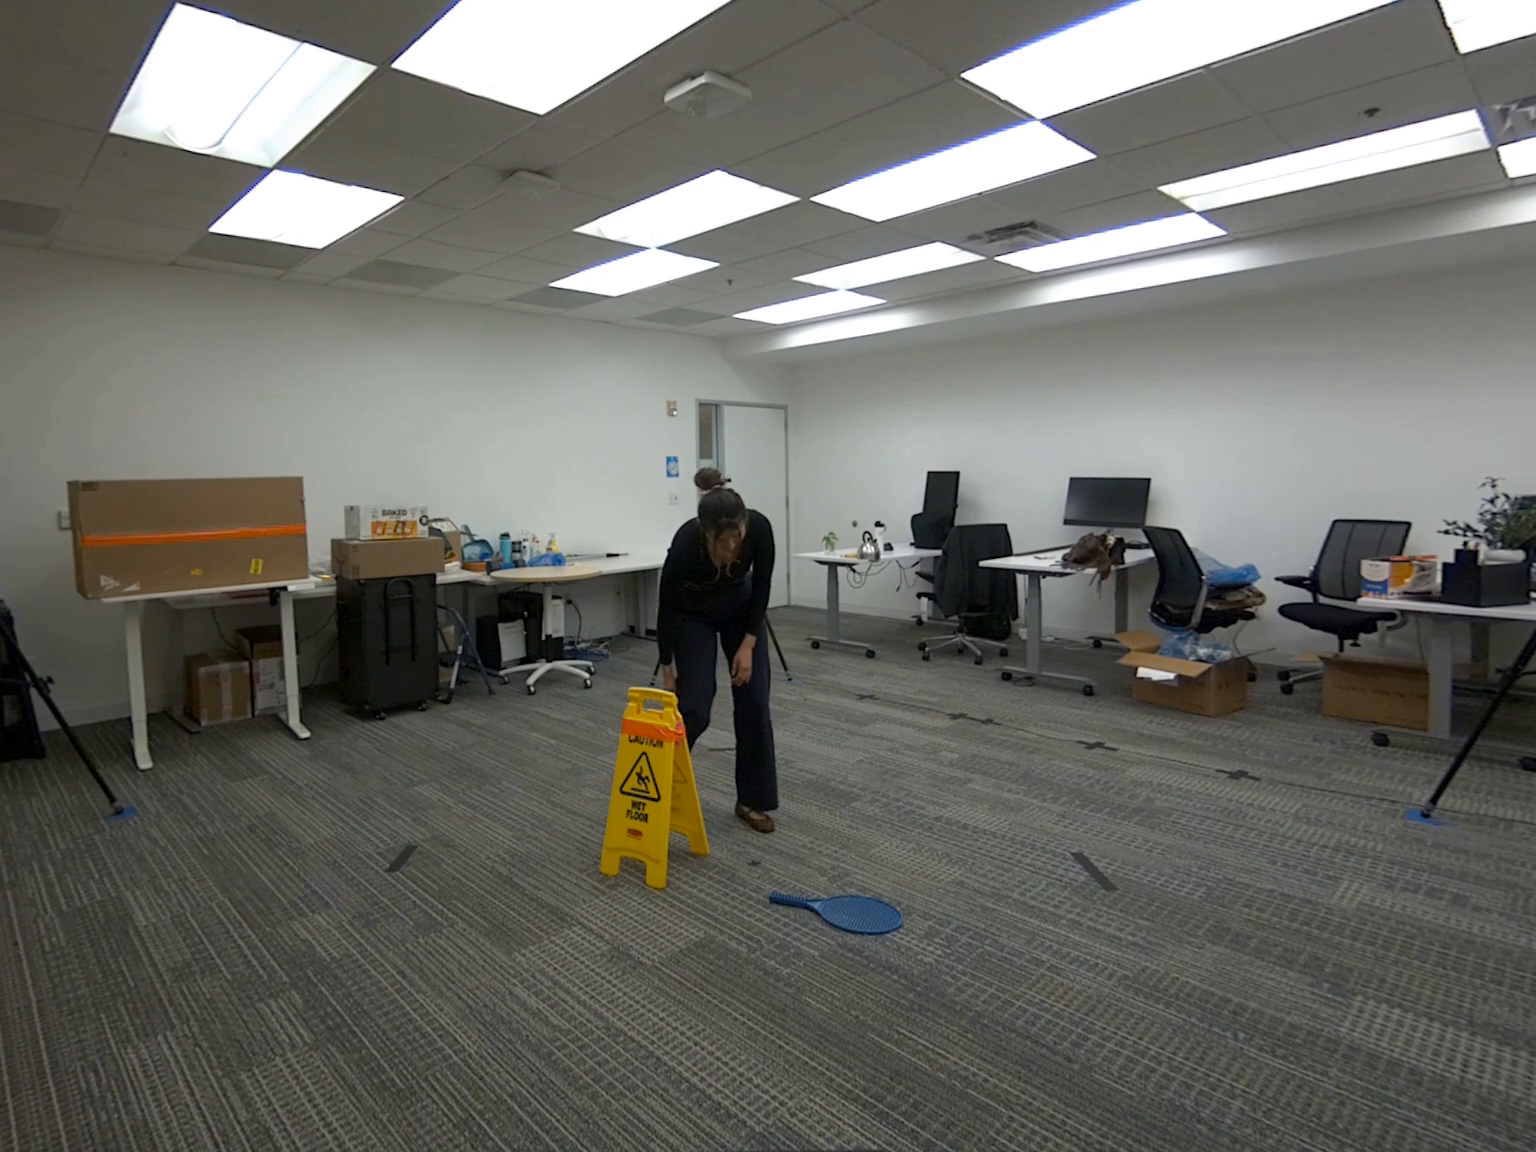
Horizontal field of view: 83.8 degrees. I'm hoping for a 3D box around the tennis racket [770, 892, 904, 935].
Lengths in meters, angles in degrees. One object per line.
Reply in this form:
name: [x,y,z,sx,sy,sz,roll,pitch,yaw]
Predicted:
tennis racket: [0.217,1.067,2.746,0.442,0.031,0.210,3,7,22]
